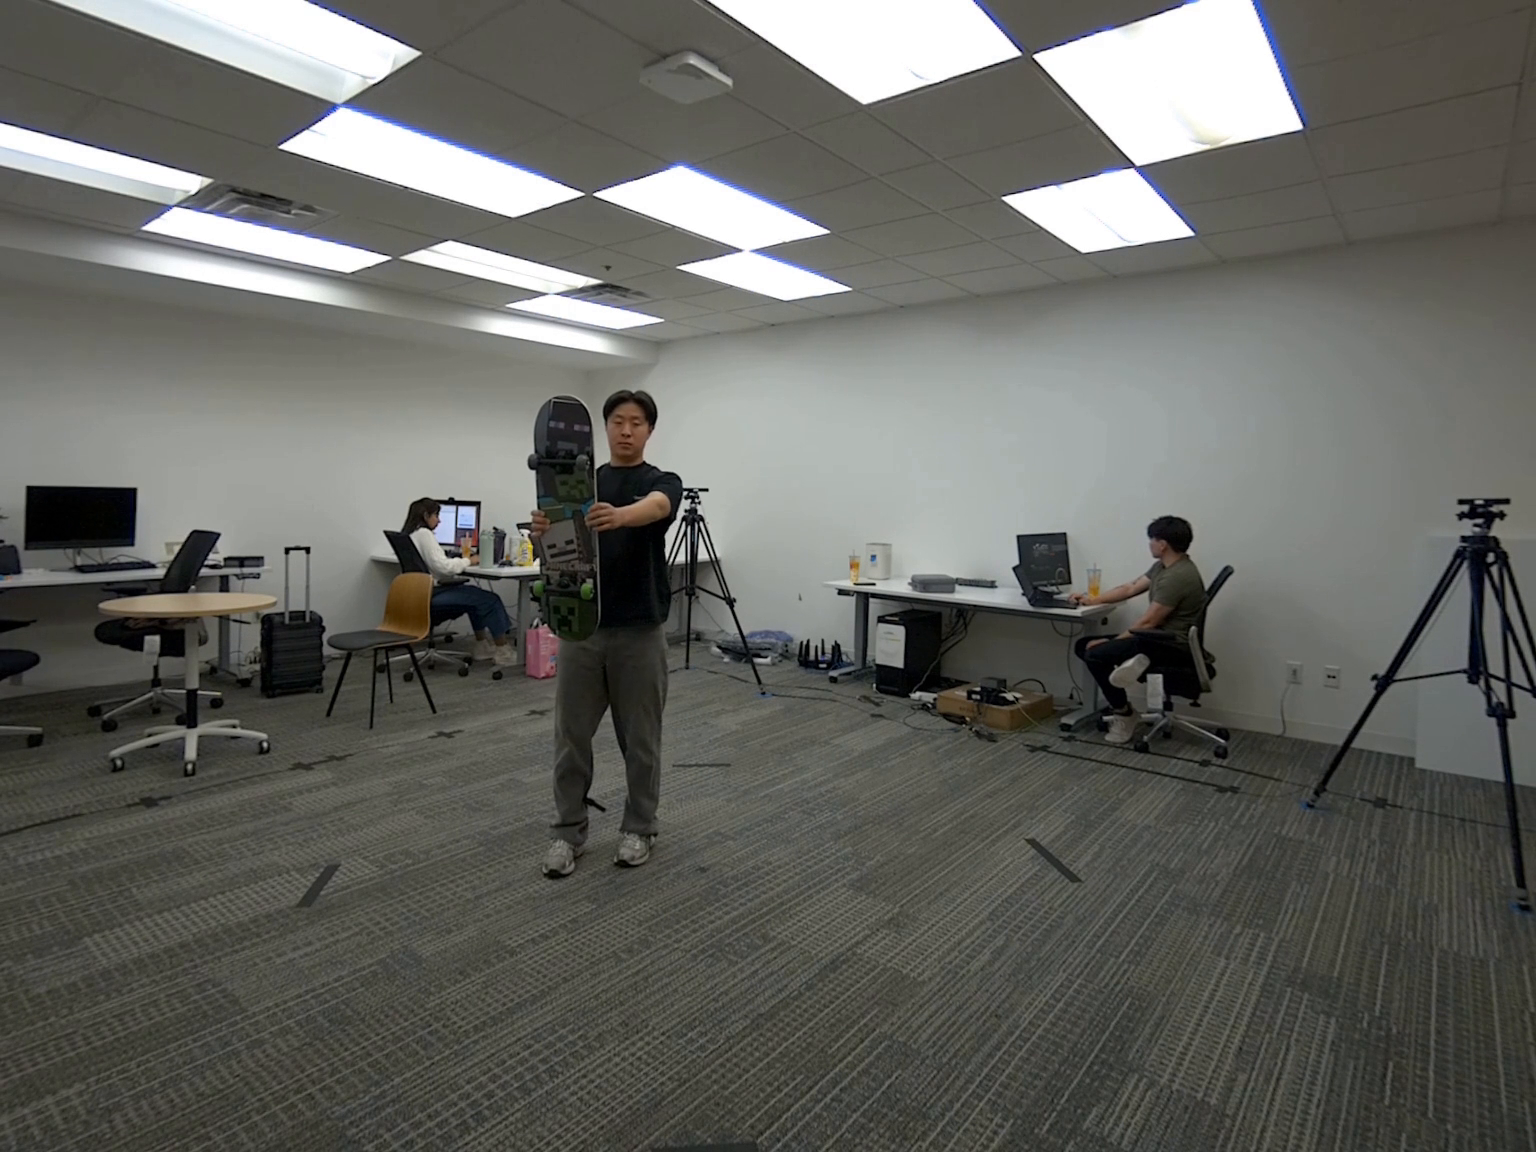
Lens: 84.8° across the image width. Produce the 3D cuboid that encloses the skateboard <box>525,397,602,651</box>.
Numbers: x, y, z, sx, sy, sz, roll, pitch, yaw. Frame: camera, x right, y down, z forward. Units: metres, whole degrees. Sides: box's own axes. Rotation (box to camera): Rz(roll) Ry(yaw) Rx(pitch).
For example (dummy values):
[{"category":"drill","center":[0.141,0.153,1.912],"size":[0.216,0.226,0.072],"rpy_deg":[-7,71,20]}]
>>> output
[{"category":"skateboard","center":[-0.623,-0.157,2.618],"size":[0.196,0.776,0.110],"rpy_deg":[3,12,11]}]
